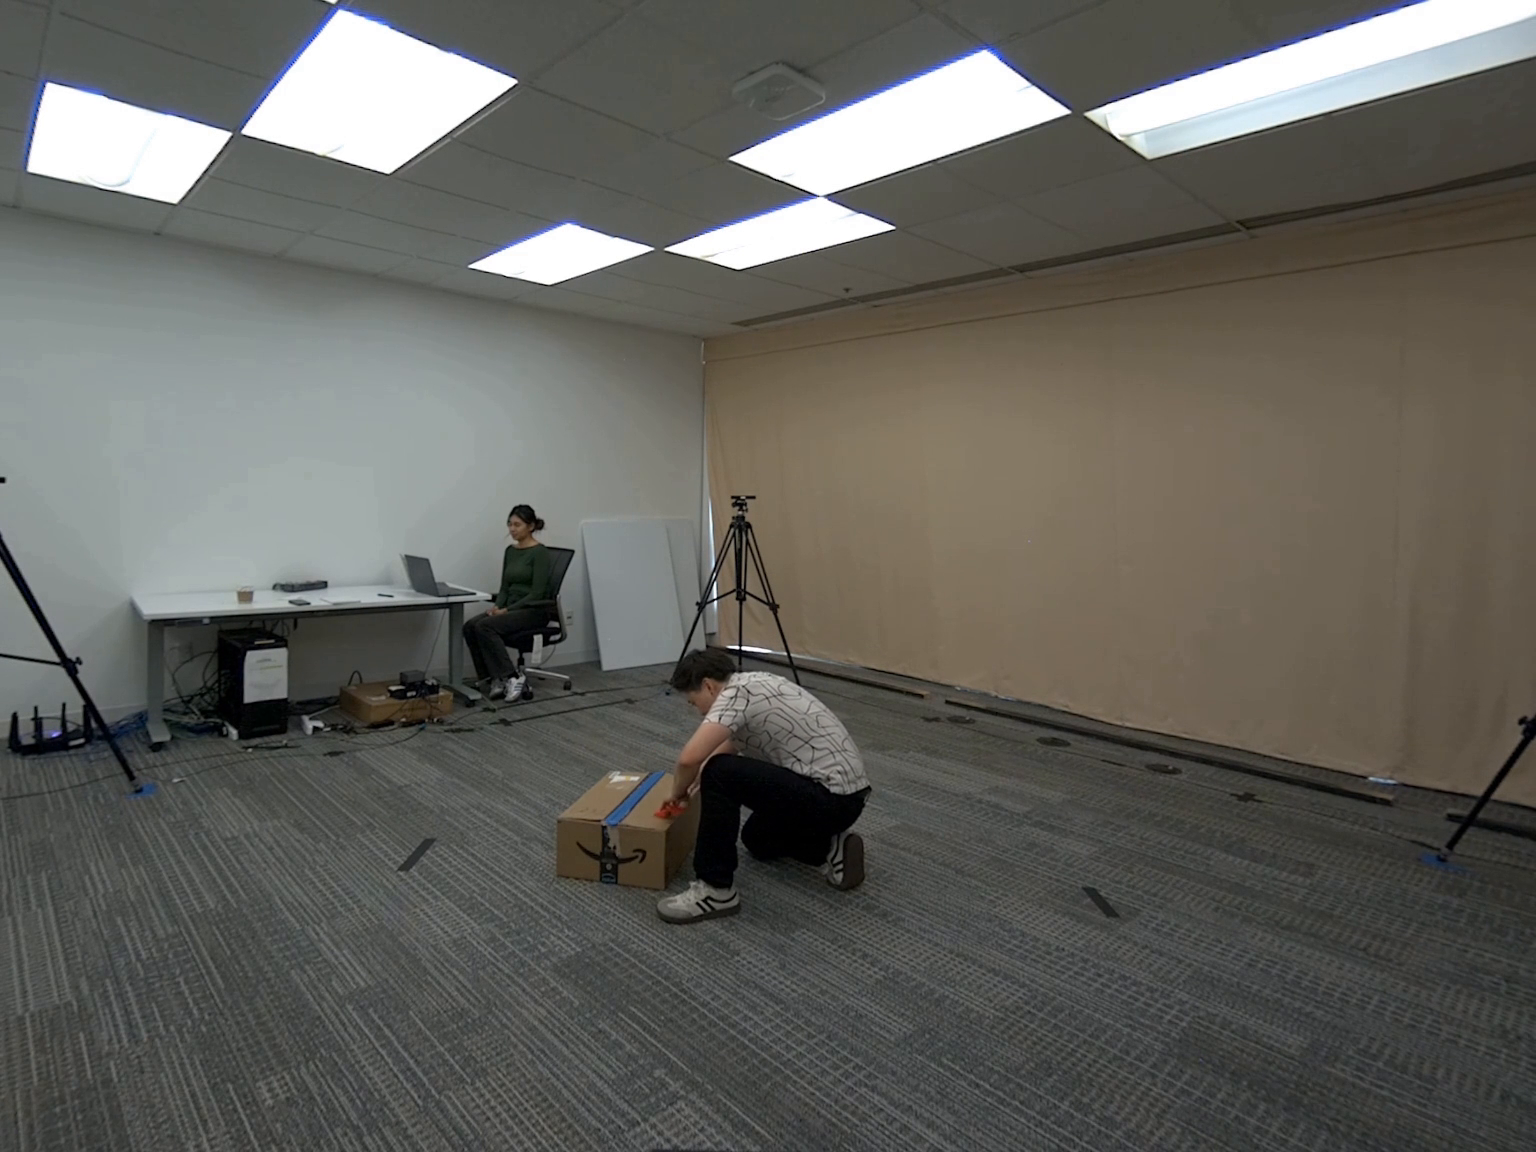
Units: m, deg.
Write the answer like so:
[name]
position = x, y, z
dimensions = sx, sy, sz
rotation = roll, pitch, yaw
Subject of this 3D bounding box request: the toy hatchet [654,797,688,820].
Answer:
[toy hatchet]
position = -0.370, 0.849, 3.169
dimensions = 0.131, 0.029, 0.270
rotation = -16, 1, -2
